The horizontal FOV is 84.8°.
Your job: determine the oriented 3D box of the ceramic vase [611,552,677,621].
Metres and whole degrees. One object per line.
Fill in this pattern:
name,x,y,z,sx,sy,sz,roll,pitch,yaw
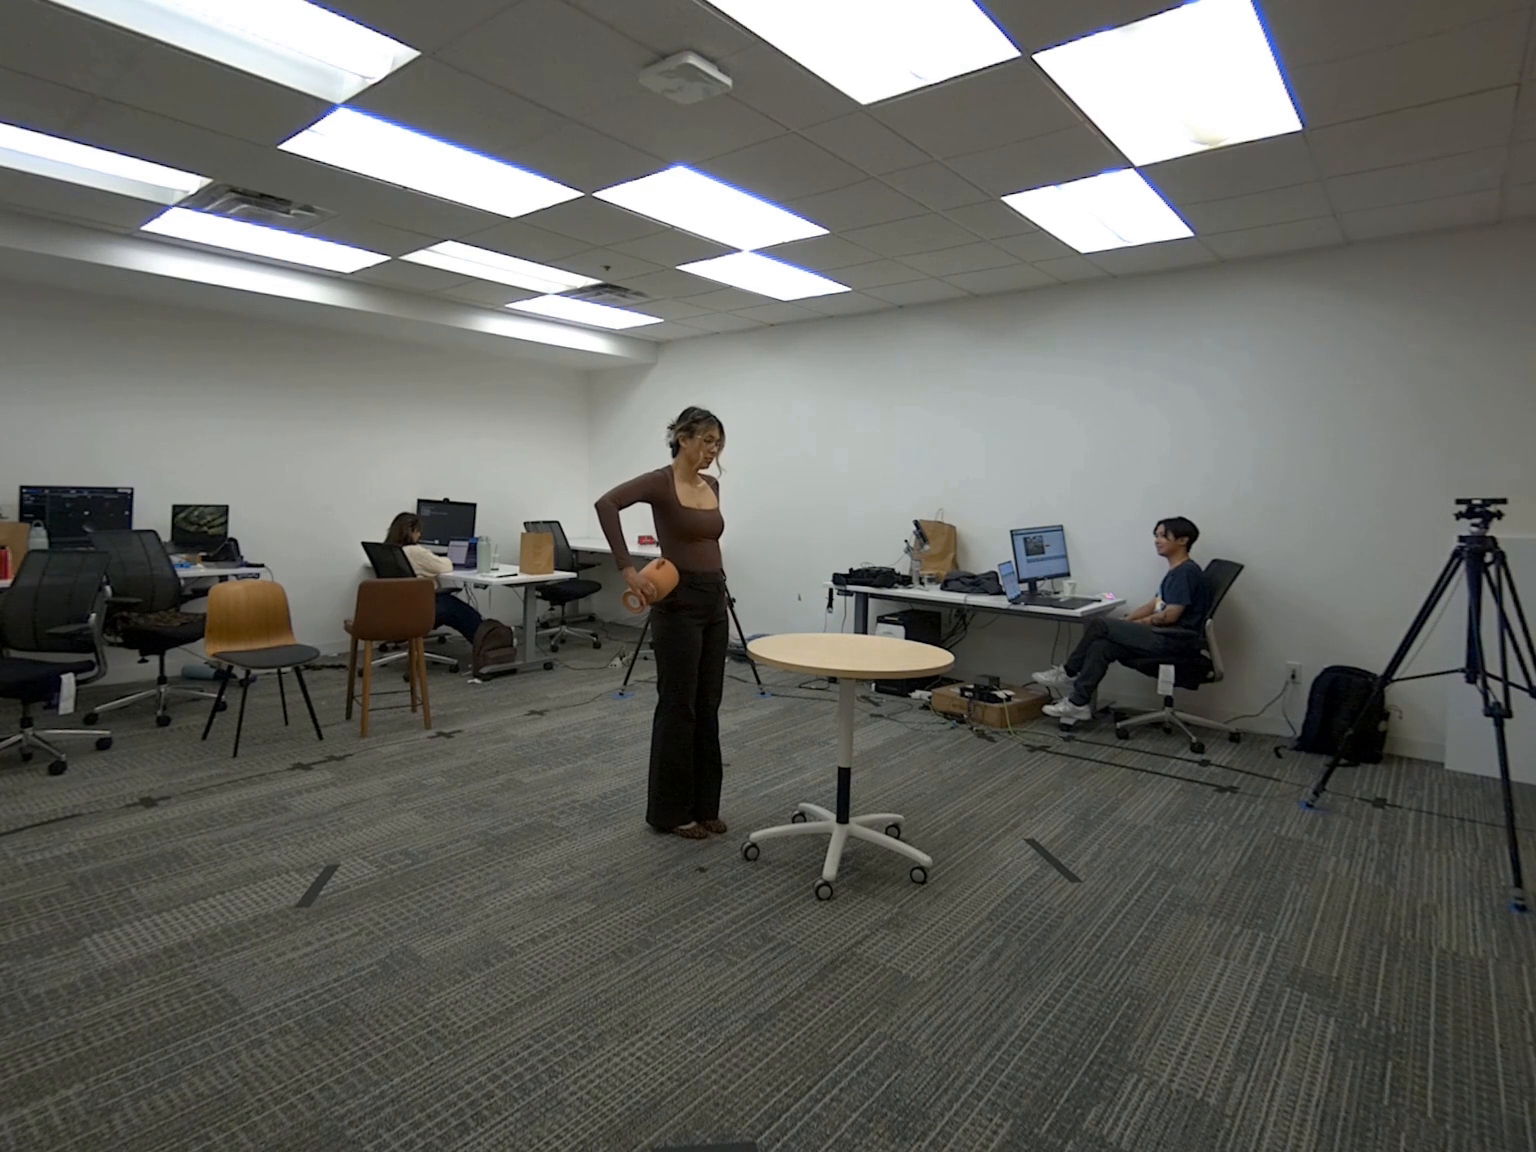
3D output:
ceramic vase,-0.446,0.033,3.171,0.138,0.155,0.219,-13,21,35
